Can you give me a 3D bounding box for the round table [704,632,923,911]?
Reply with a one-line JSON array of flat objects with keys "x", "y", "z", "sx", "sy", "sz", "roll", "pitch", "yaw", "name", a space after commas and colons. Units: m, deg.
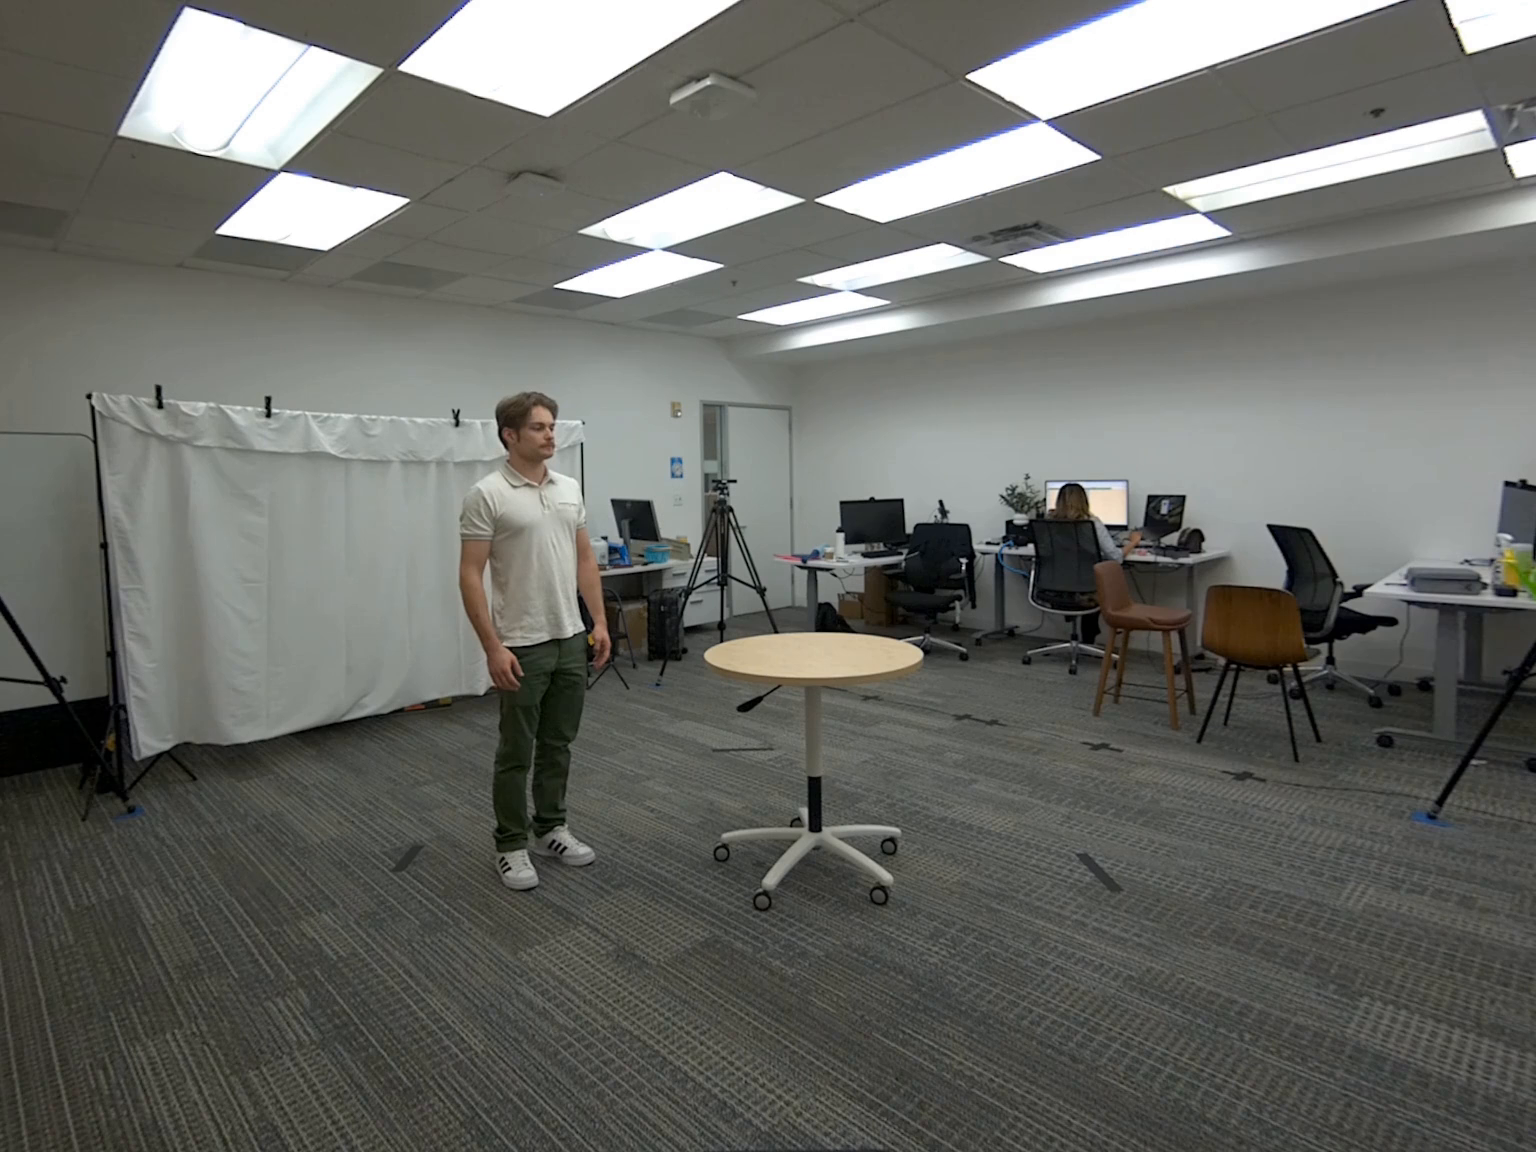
[{"x": 0.162, "y": 0.660, "z": 3.042, "sx": 0.763, "sy": 0.791, "sz": 0.768, "roll": -2, "pitch": 5, "yaw": -2, "name": "round table"}]
